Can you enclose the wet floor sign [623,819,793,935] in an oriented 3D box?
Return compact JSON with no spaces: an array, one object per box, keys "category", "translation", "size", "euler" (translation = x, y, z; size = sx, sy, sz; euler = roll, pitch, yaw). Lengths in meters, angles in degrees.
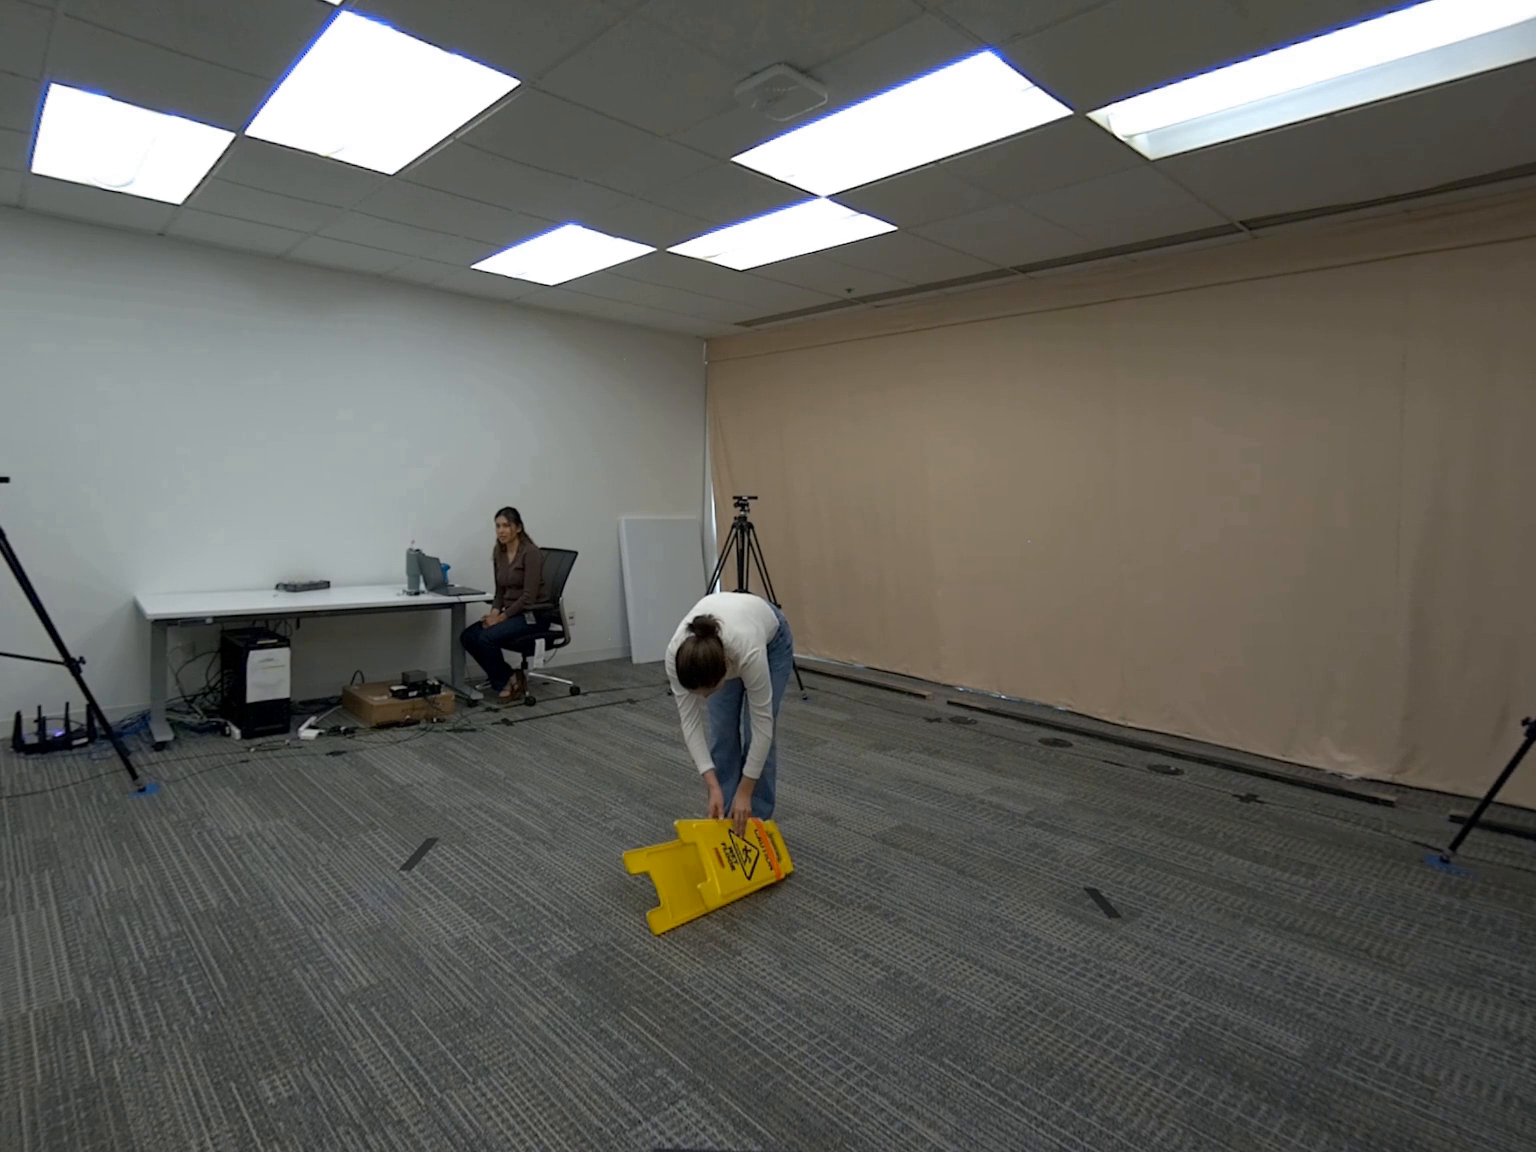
[{"category":"wet floor sign","translation":[-0.146,0.992,2.903],"size":[0.291,0.289,0.629],"euler":[-39,-27,27]}]
